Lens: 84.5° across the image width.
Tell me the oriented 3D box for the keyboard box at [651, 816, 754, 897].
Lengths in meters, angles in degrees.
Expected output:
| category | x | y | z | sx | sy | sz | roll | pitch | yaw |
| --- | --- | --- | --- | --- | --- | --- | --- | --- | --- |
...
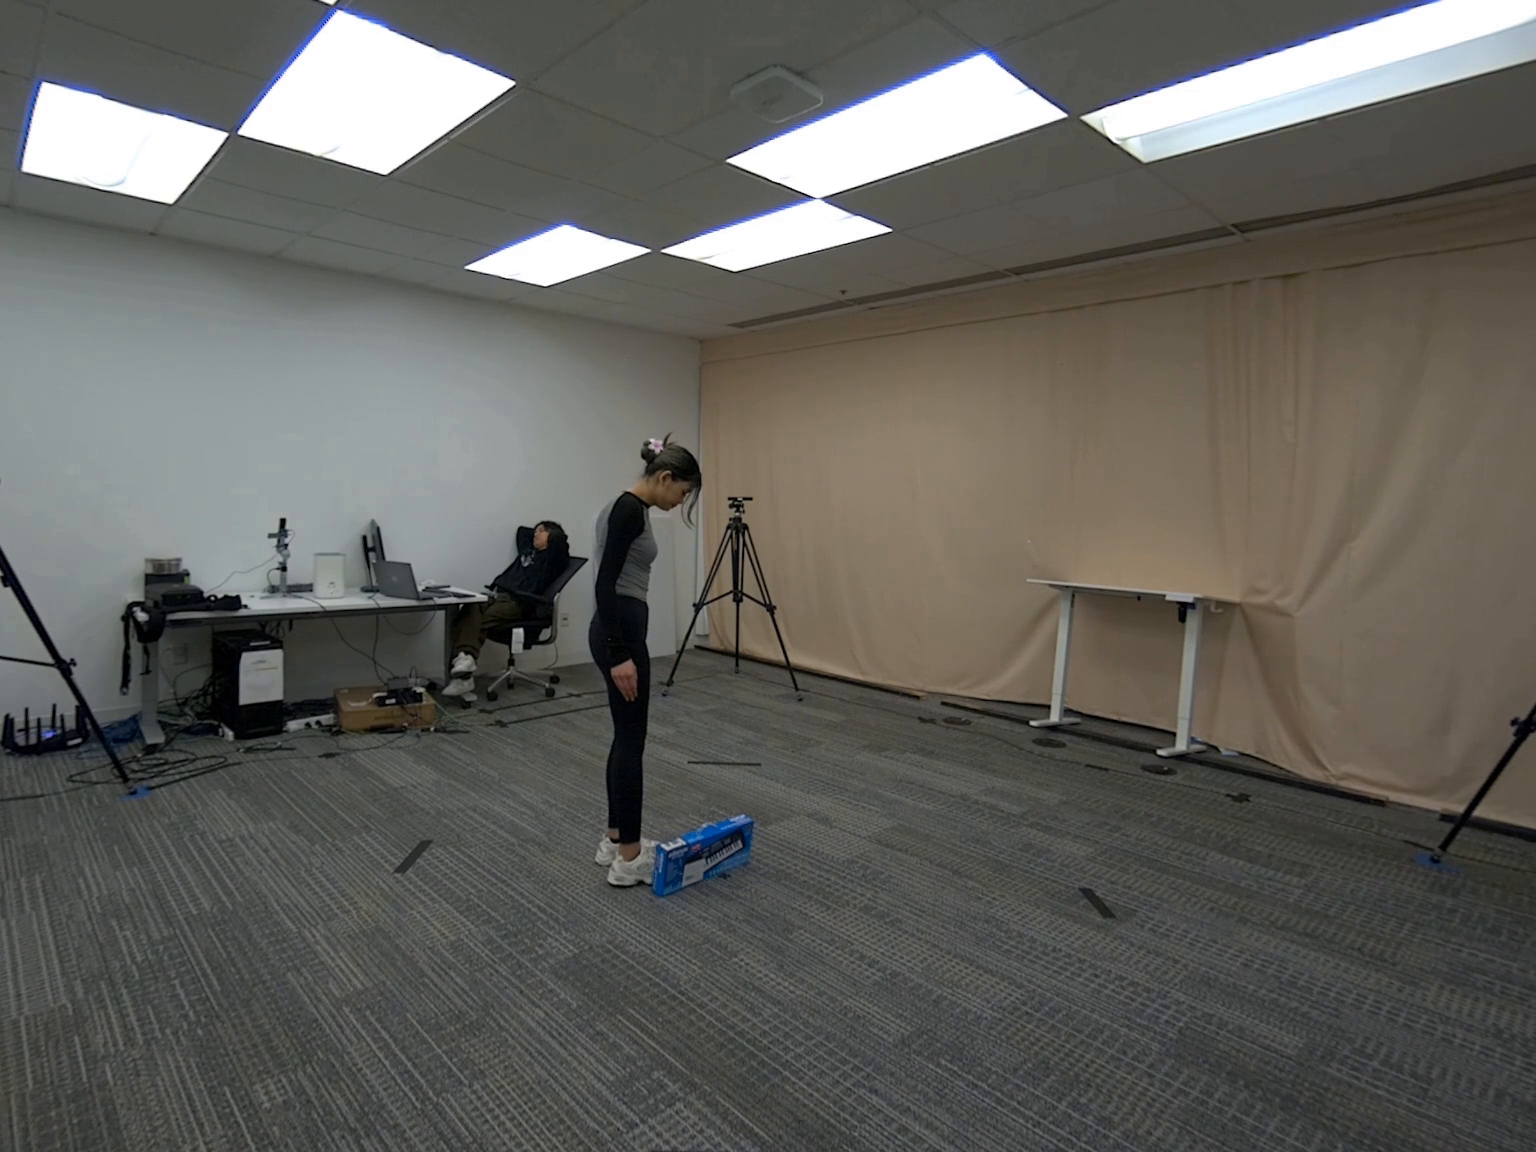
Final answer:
| category | x | y | z | sx | sy | sz | roll | pitch | yaw |
| --- | --- | --- | --- | --- | --- | --- | --- | --- | --- |
| keyboard box | -0.238 | 1.024 | 3.078 | 0.061 | 0.175 | 0.427 | 14 | 13 | 43 |
